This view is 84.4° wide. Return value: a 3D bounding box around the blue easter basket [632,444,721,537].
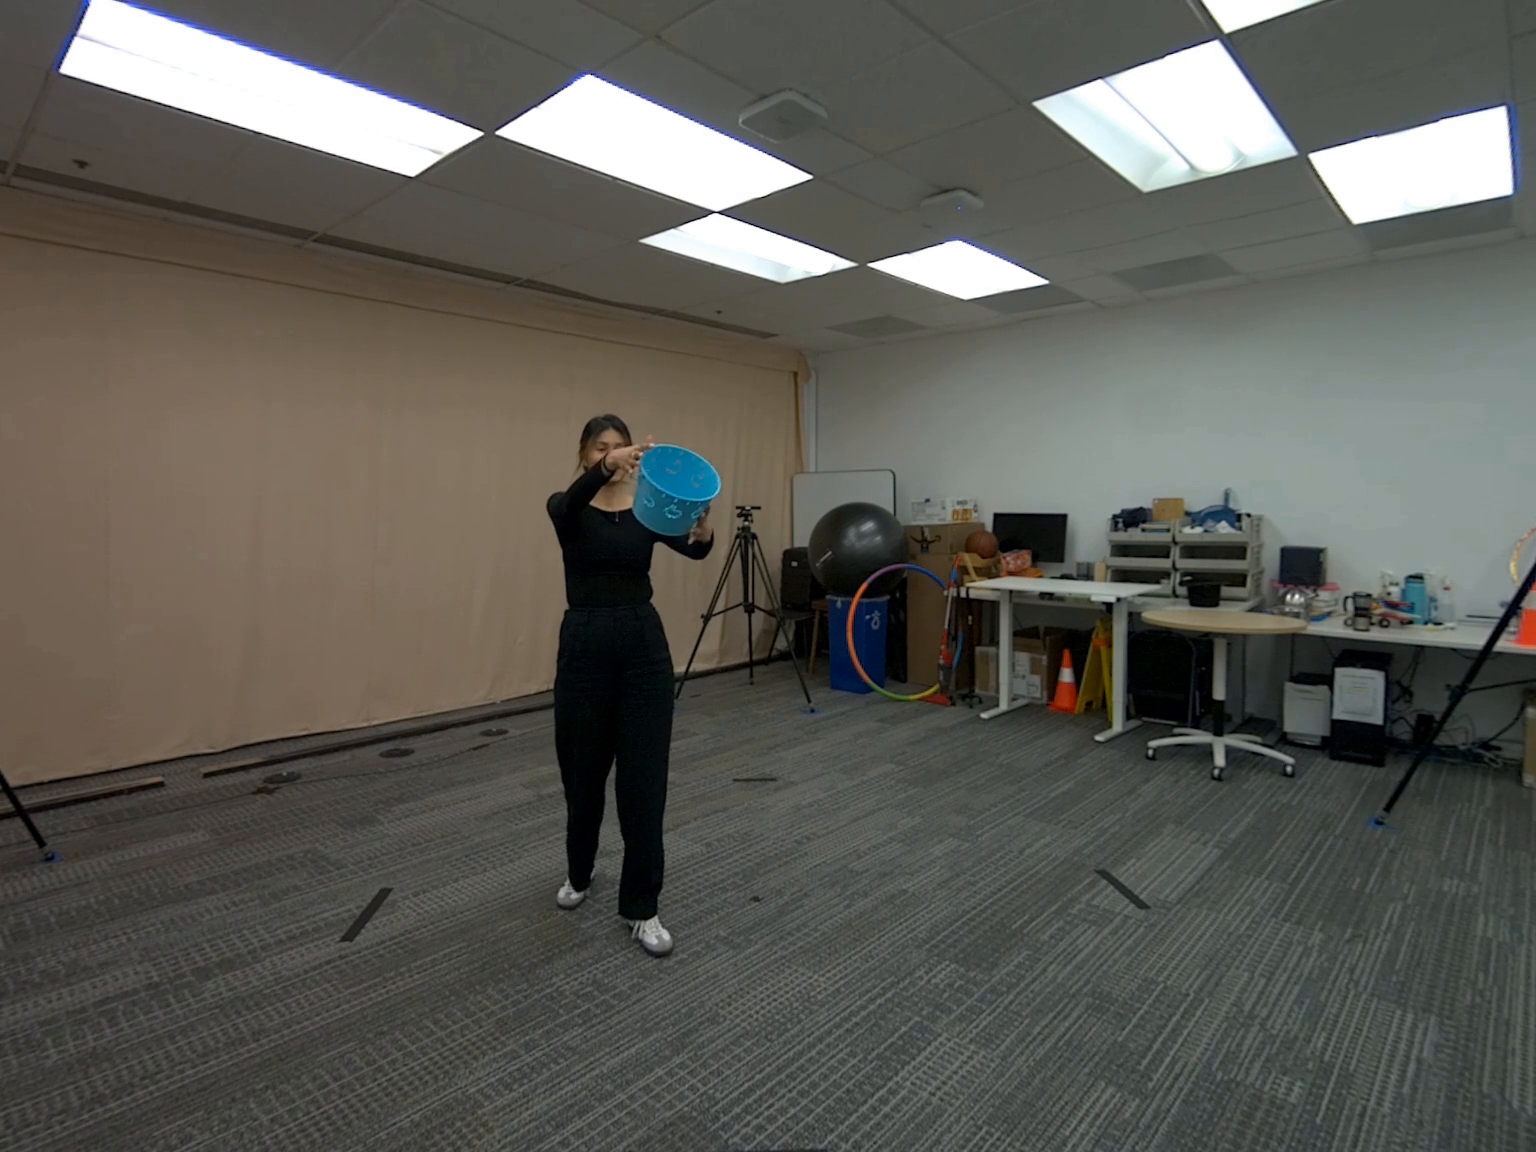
[{"bbox_3d":[-0.263,-0.227,2.287,0.239,0.155,0.248,16,39,-15],"label":"blue easter basket"}]
